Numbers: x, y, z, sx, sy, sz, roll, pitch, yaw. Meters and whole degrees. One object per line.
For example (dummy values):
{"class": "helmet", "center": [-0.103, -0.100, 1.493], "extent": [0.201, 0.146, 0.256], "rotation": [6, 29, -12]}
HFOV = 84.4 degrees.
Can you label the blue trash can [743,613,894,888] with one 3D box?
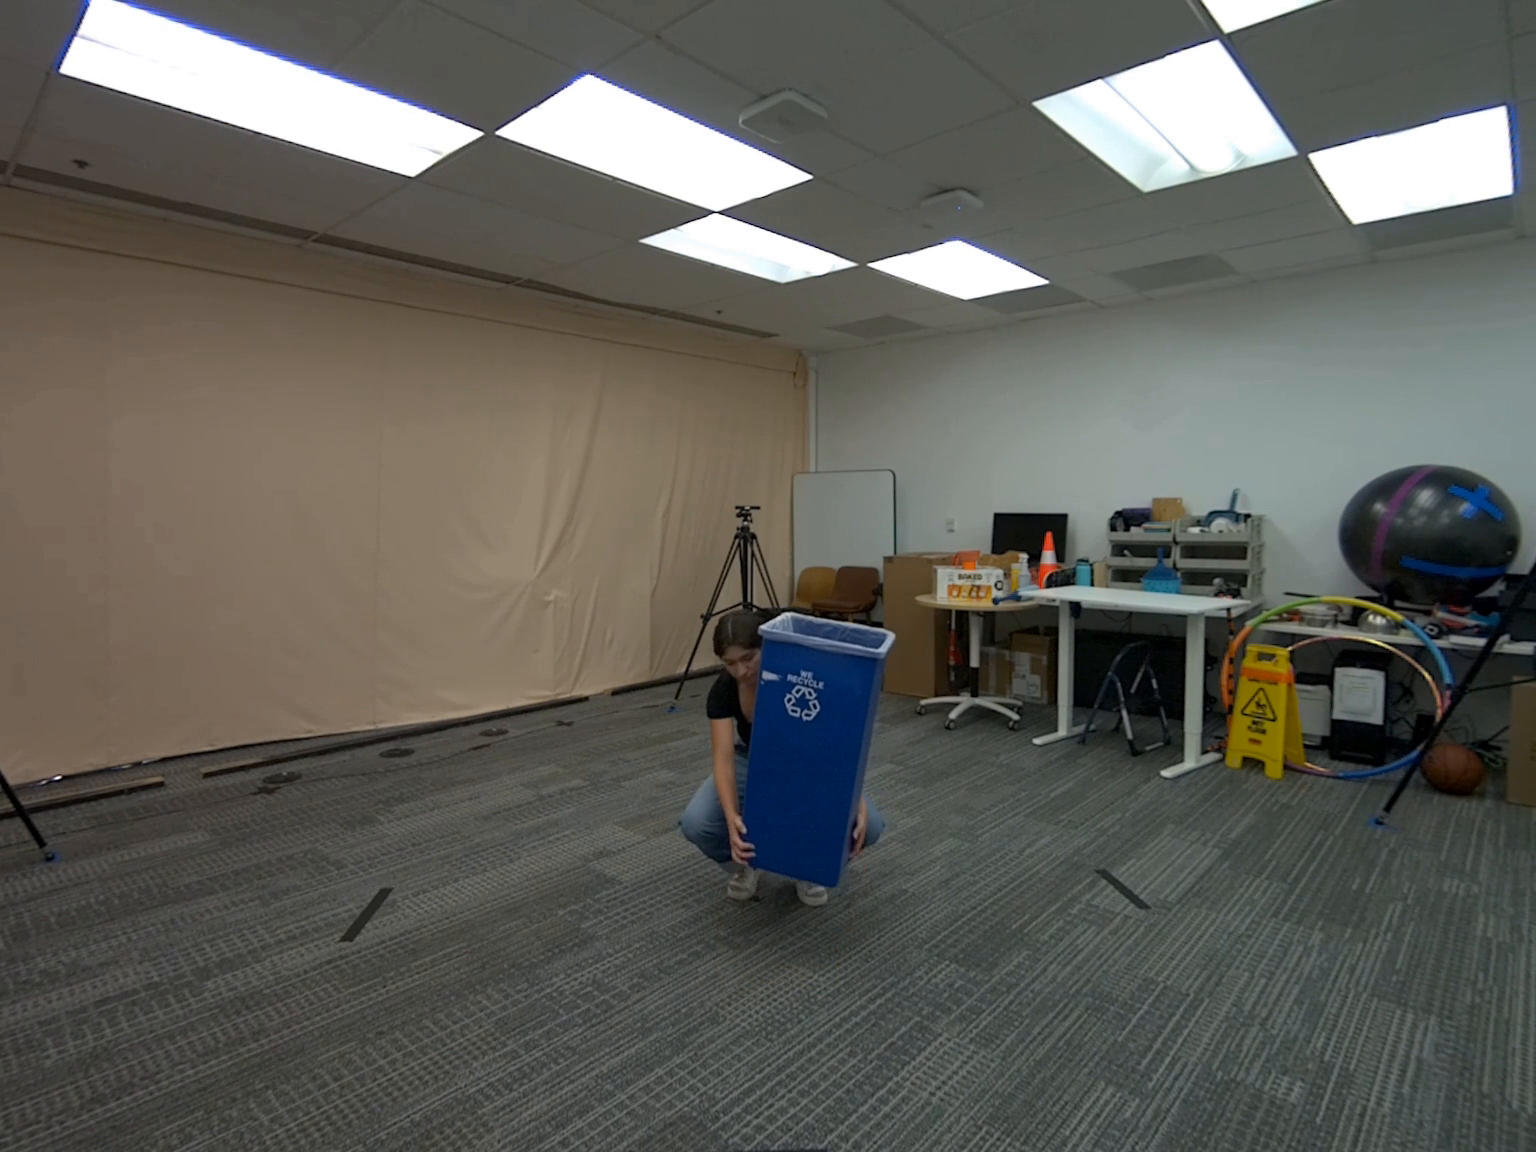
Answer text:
{"class": "blue trash can", "center": [0.149, 0.508, 2.567], "extent": [0.381, 0.711, 0.372], "rotation": [8, 6, 16]}
